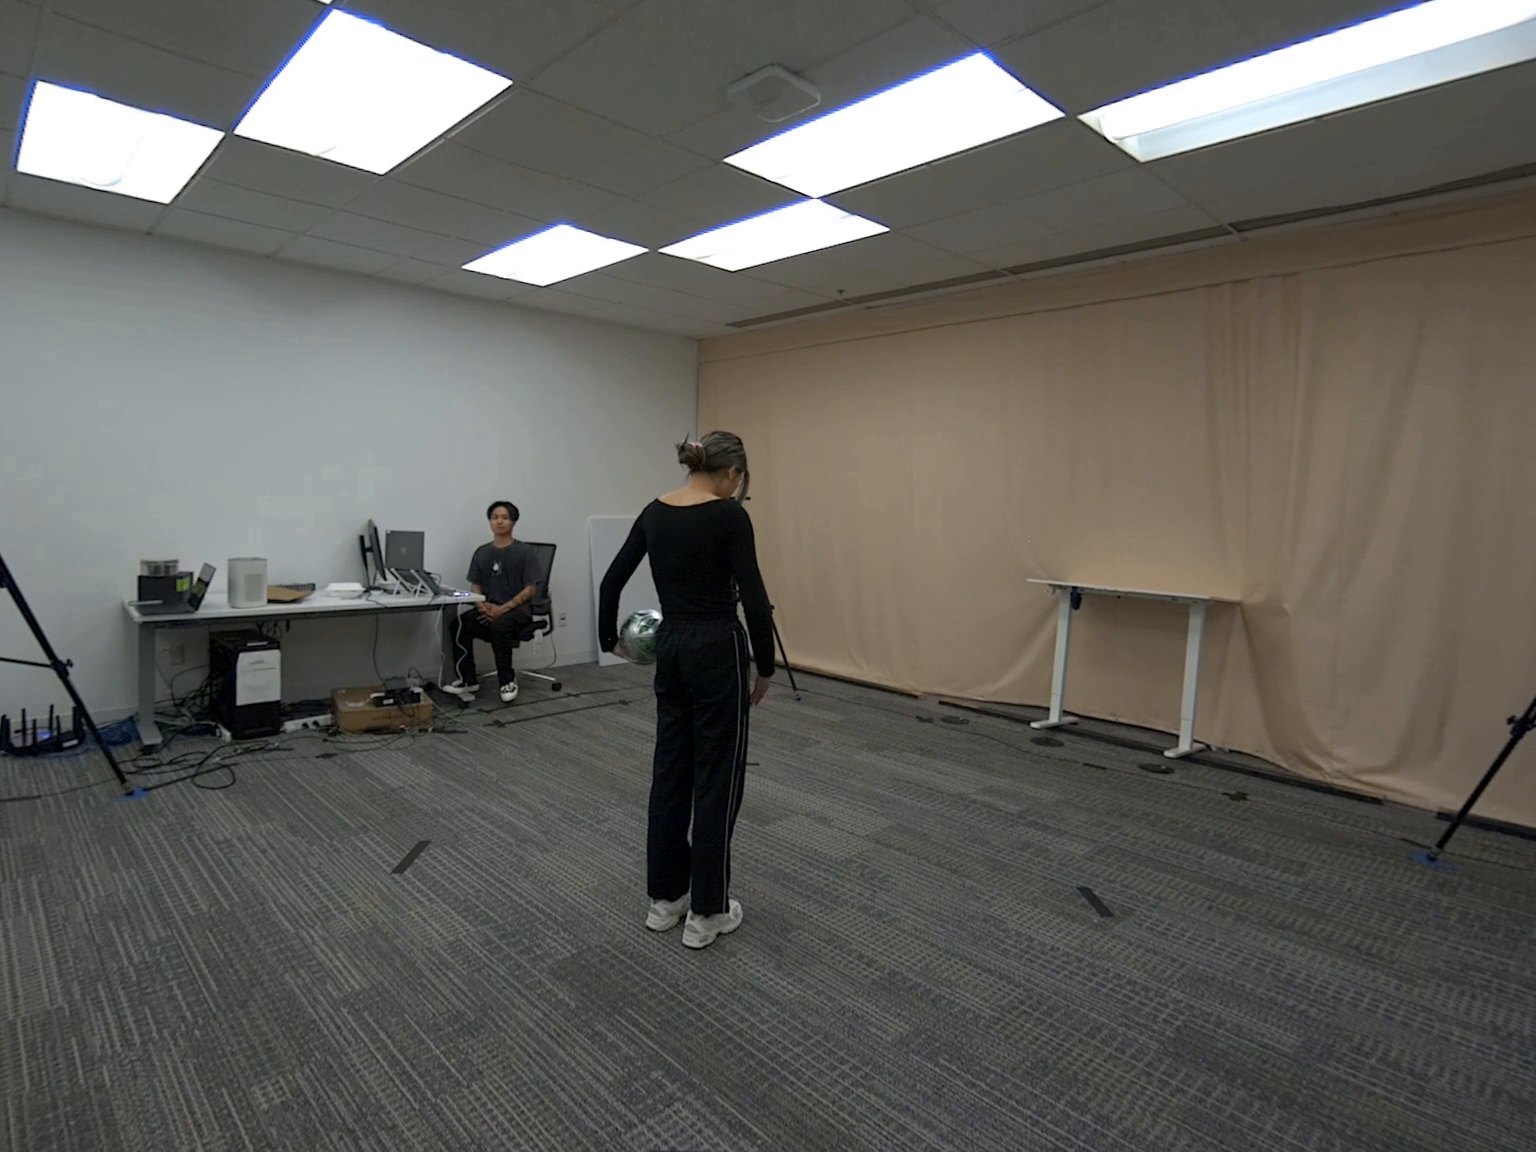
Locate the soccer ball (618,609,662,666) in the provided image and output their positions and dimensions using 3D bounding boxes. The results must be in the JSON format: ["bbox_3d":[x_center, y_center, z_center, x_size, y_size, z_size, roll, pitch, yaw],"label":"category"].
[{"bbox_3d":[-0.414,0.205,2.882,0.187,0.187,0.188,1,4,-1],"label":"soccer ball"}]
